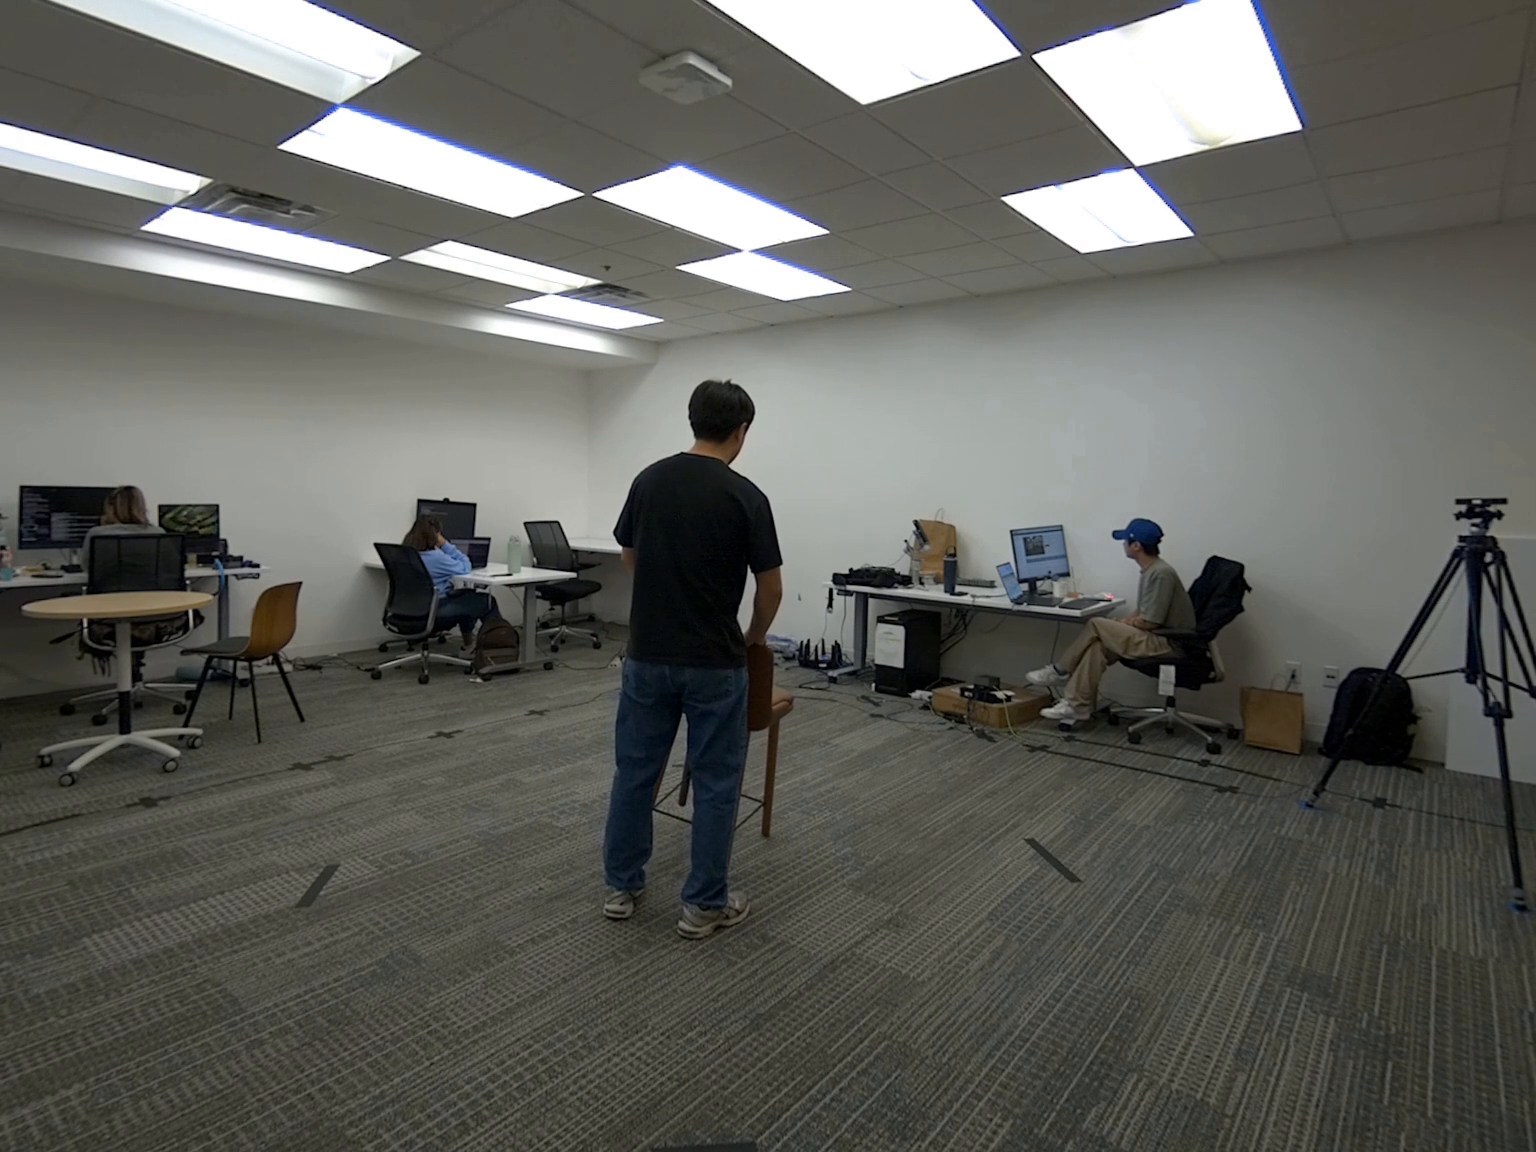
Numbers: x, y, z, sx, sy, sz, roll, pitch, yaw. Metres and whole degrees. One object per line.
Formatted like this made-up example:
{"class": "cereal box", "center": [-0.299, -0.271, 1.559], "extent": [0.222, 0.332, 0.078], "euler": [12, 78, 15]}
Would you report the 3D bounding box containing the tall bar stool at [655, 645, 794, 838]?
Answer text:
{"class": "tall bar stool", "center": [-0.189, 0.592, 3.245], "extent": [0.468, 0.883, 0.459], "euler": [13, 10, 21]}
